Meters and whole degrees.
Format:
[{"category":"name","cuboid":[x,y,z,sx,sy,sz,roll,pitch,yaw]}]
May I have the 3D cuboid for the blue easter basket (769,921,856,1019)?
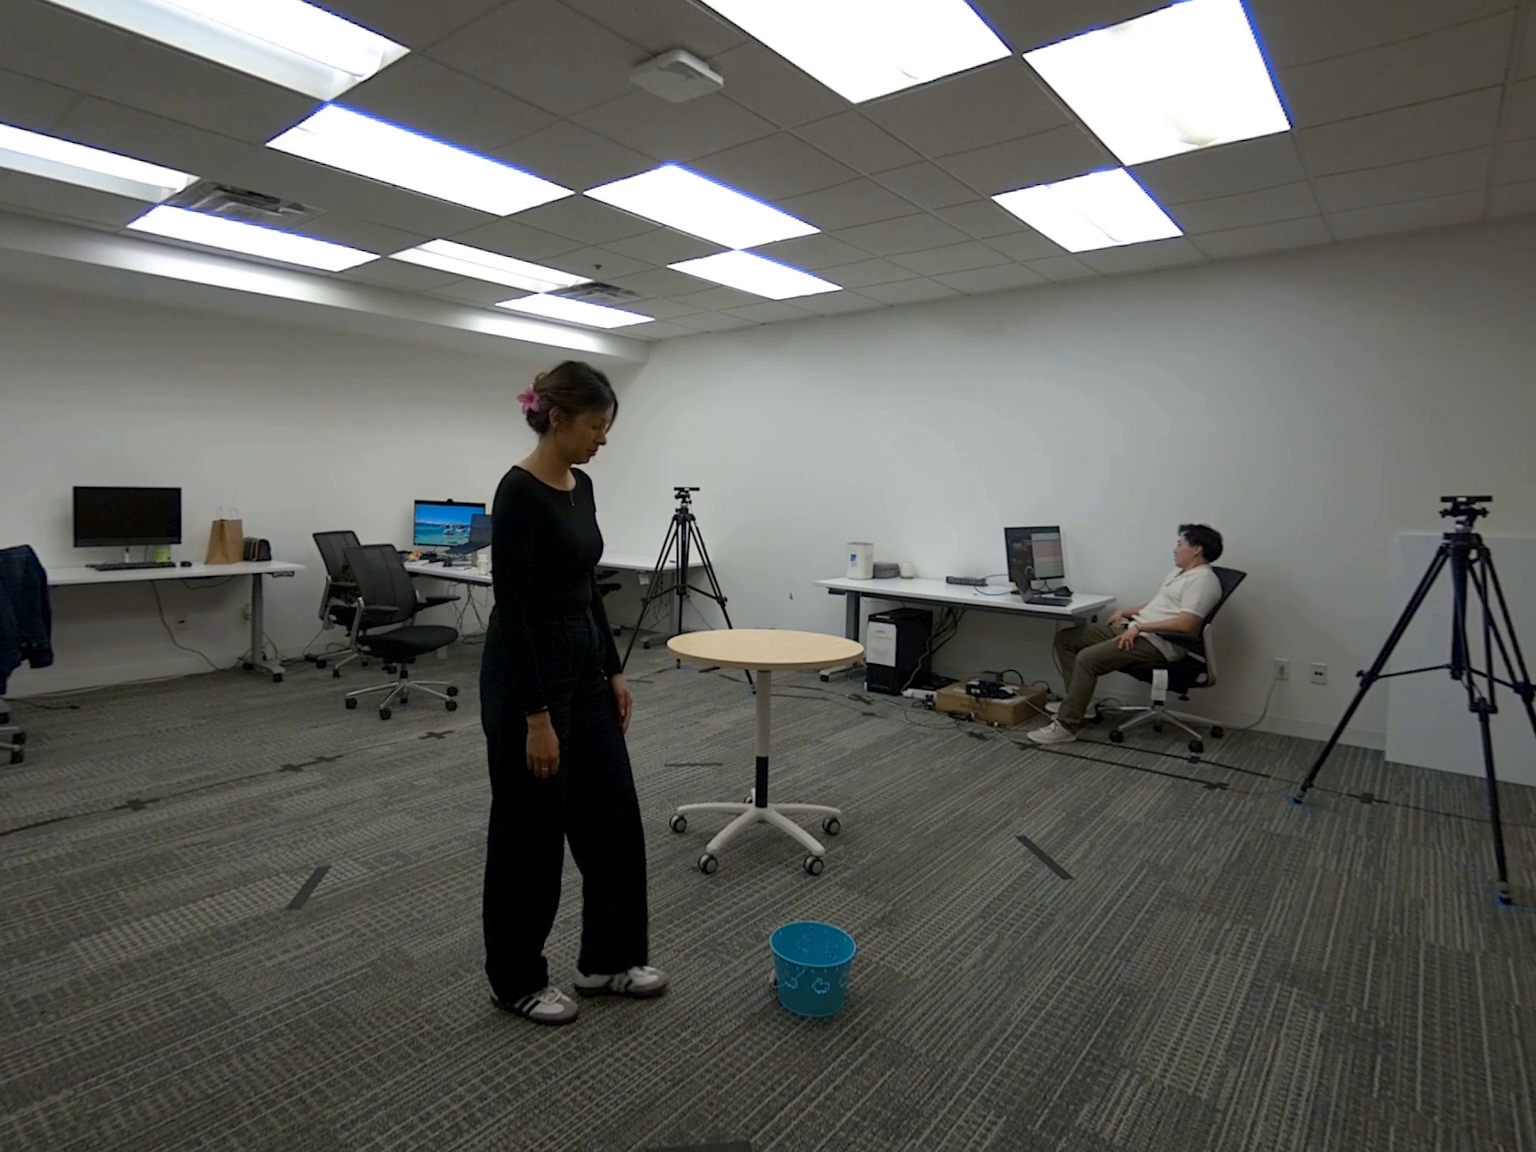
[{"category":"blue easter basket","cuboid":[0.112,1.077,2.329,0.243,0.155,0.245,1,5,-2]}]
